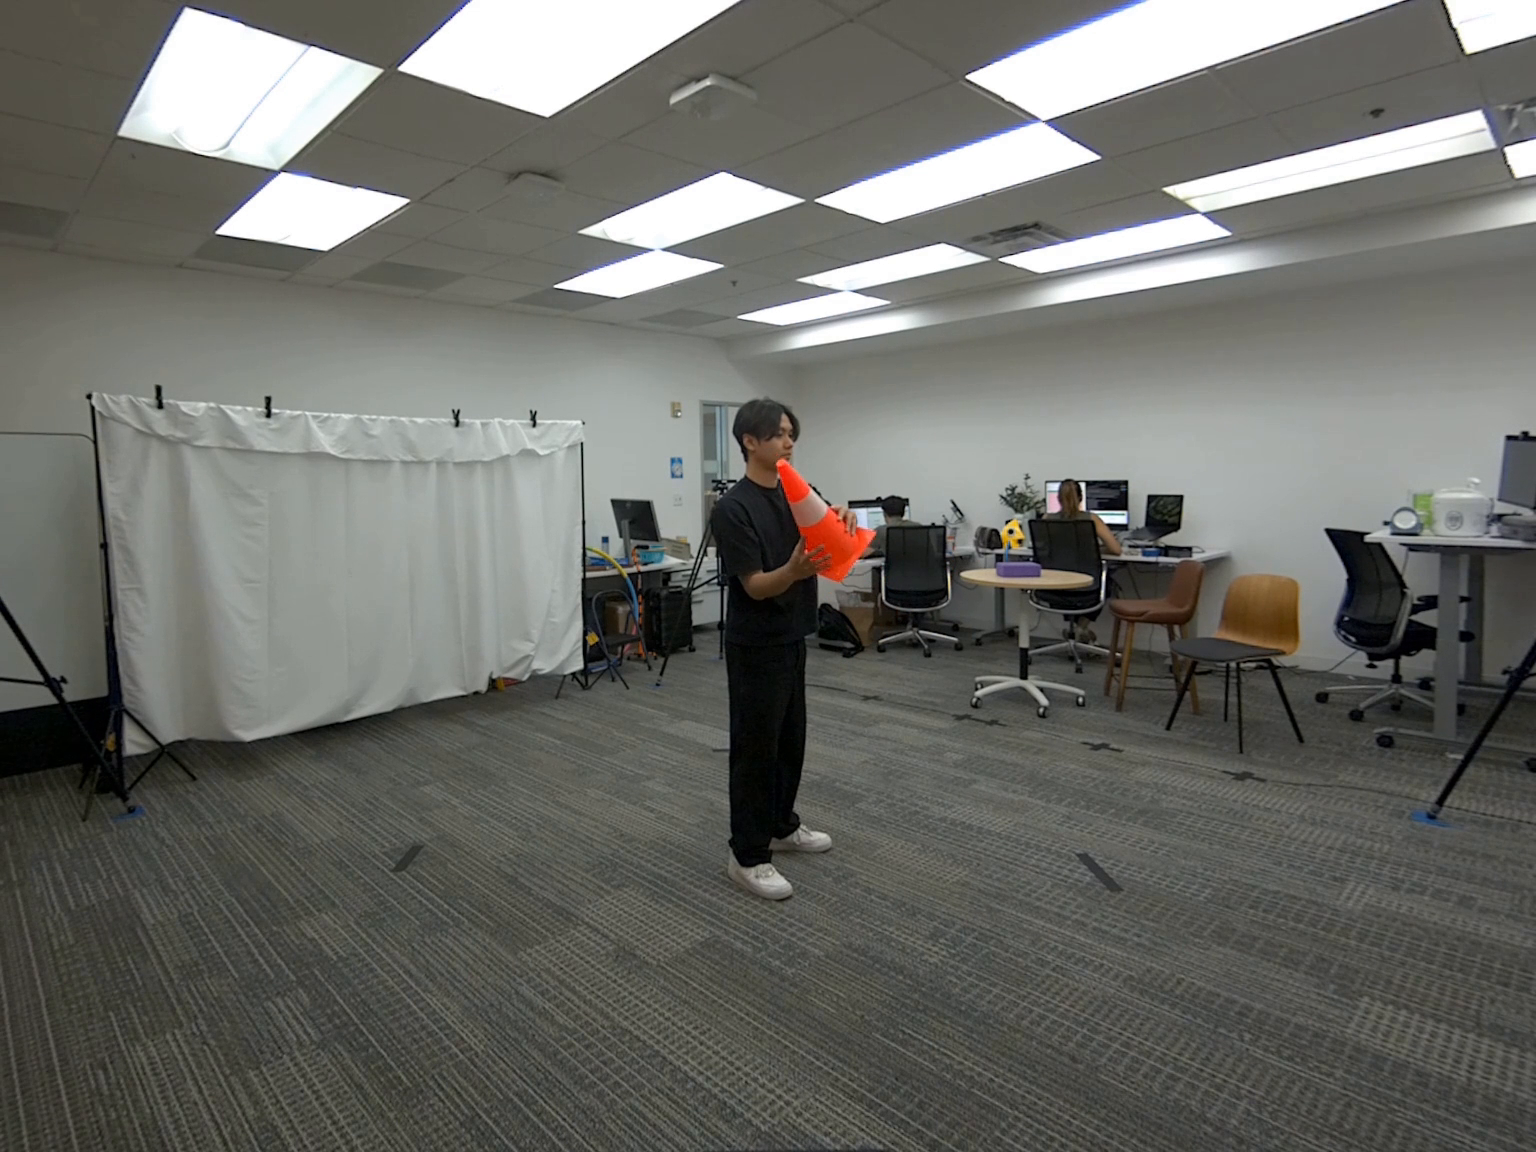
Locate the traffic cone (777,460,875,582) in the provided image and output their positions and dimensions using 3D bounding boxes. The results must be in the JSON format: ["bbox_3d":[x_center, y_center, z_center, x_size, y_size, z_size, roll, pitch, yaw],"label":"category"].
[{"bbox_3d":[0.127,-0.187,2.489,0.212,0.204,0.369,17,-29,44],"label":"traffic cone"}]
